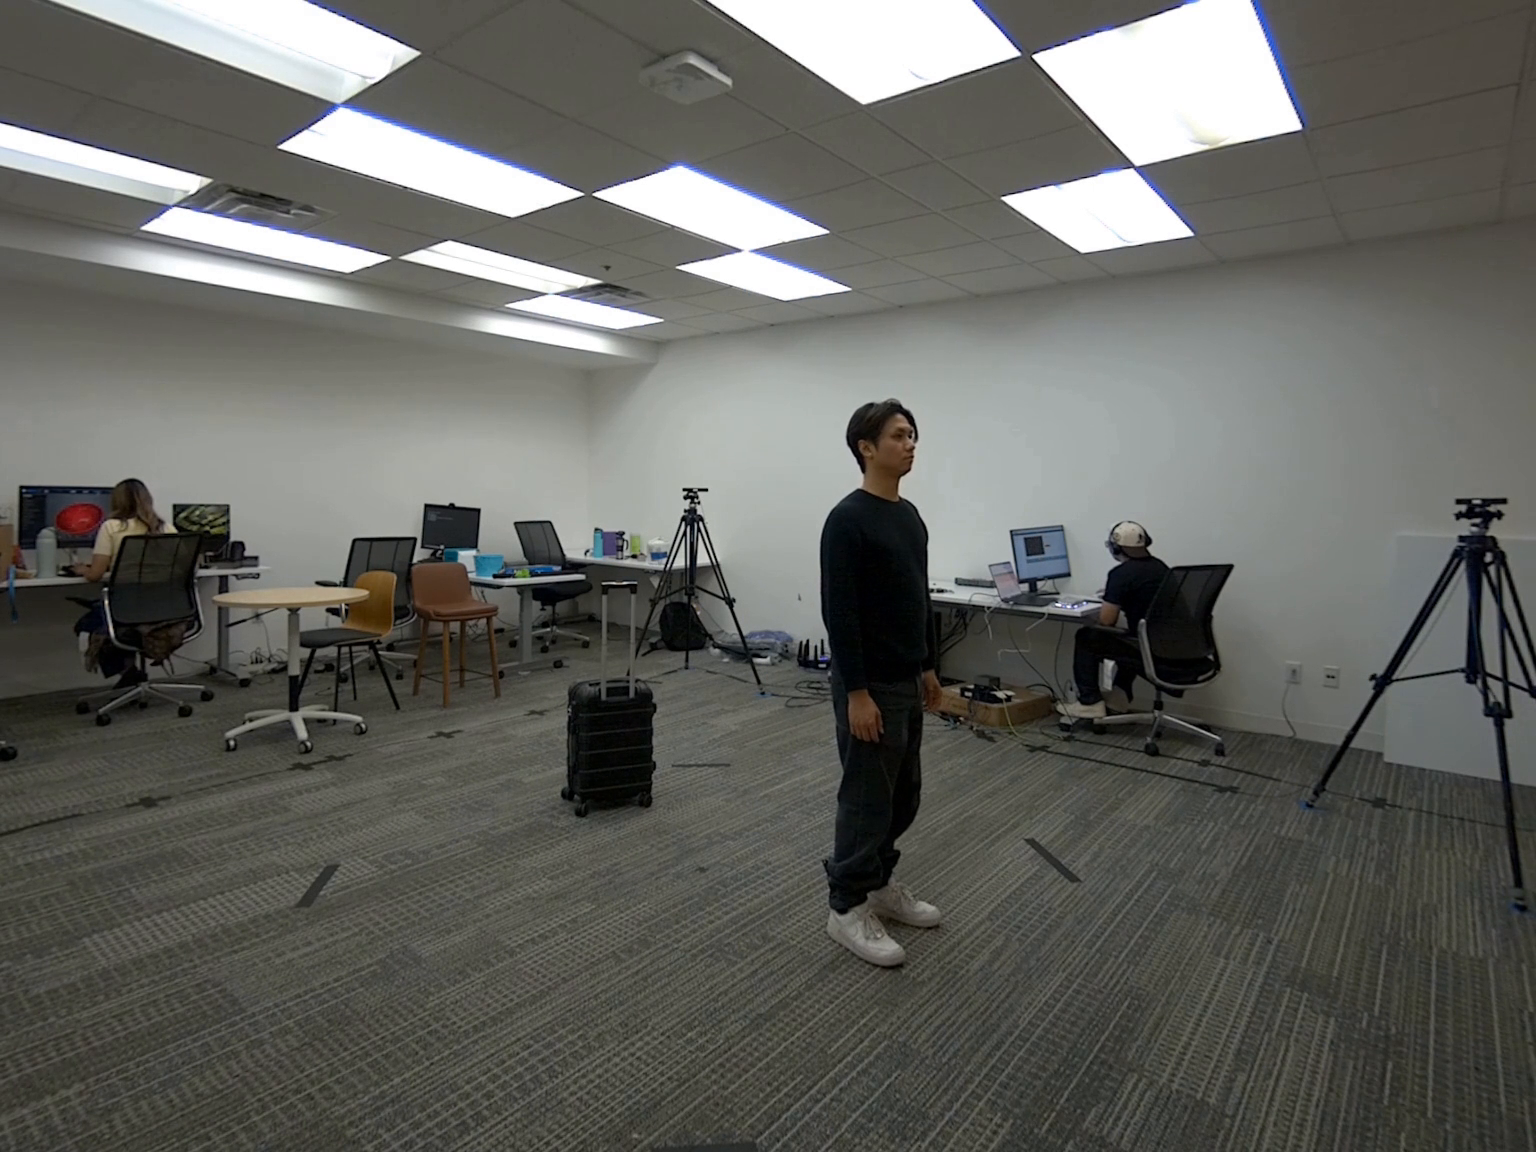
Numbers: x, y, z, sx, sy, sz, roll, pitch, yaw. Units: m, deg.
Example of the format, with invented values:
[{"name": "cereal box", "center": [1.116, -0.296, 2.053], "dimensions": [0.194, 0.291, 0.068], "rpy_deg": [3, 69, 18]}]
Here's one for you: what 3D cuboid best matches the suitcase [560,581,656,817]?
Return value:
[{"name": "suitcase", "center": [-0.715, 0.522, 3.762], "dimensions": [0.375, 0.979, 0.263], "rpy_deg": [1, 0, -23]}]
